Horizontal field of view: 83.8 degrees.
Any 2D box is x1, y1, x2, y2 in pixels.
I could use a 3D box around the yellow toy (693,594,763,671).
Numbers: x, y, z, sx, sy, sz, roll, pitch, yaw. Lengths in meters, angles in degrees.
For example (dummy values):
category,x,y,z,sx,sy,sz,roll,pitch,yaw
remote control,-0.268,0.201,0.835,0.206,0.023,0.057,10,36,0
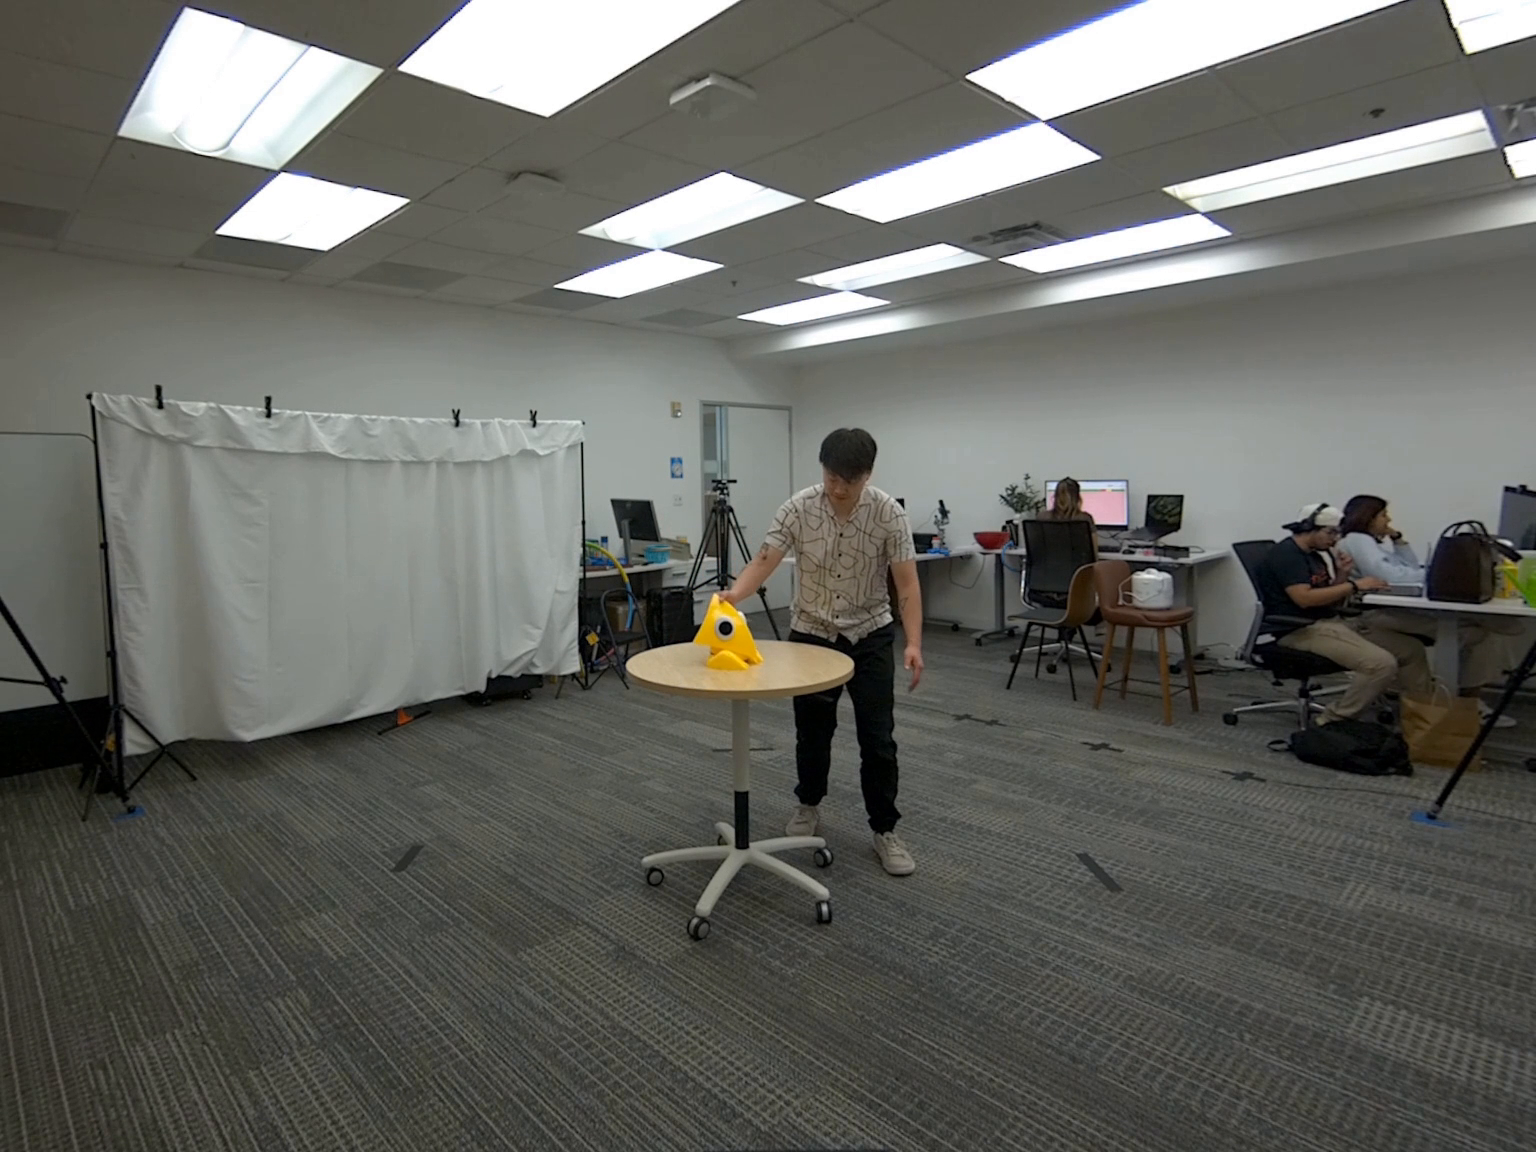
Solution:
category,x,y,z,sx,sy,sz,roll,pitch,yaw
yellow toy,-0.121,0.180,2.862,0.197,0.230,0.201,1,6,25
